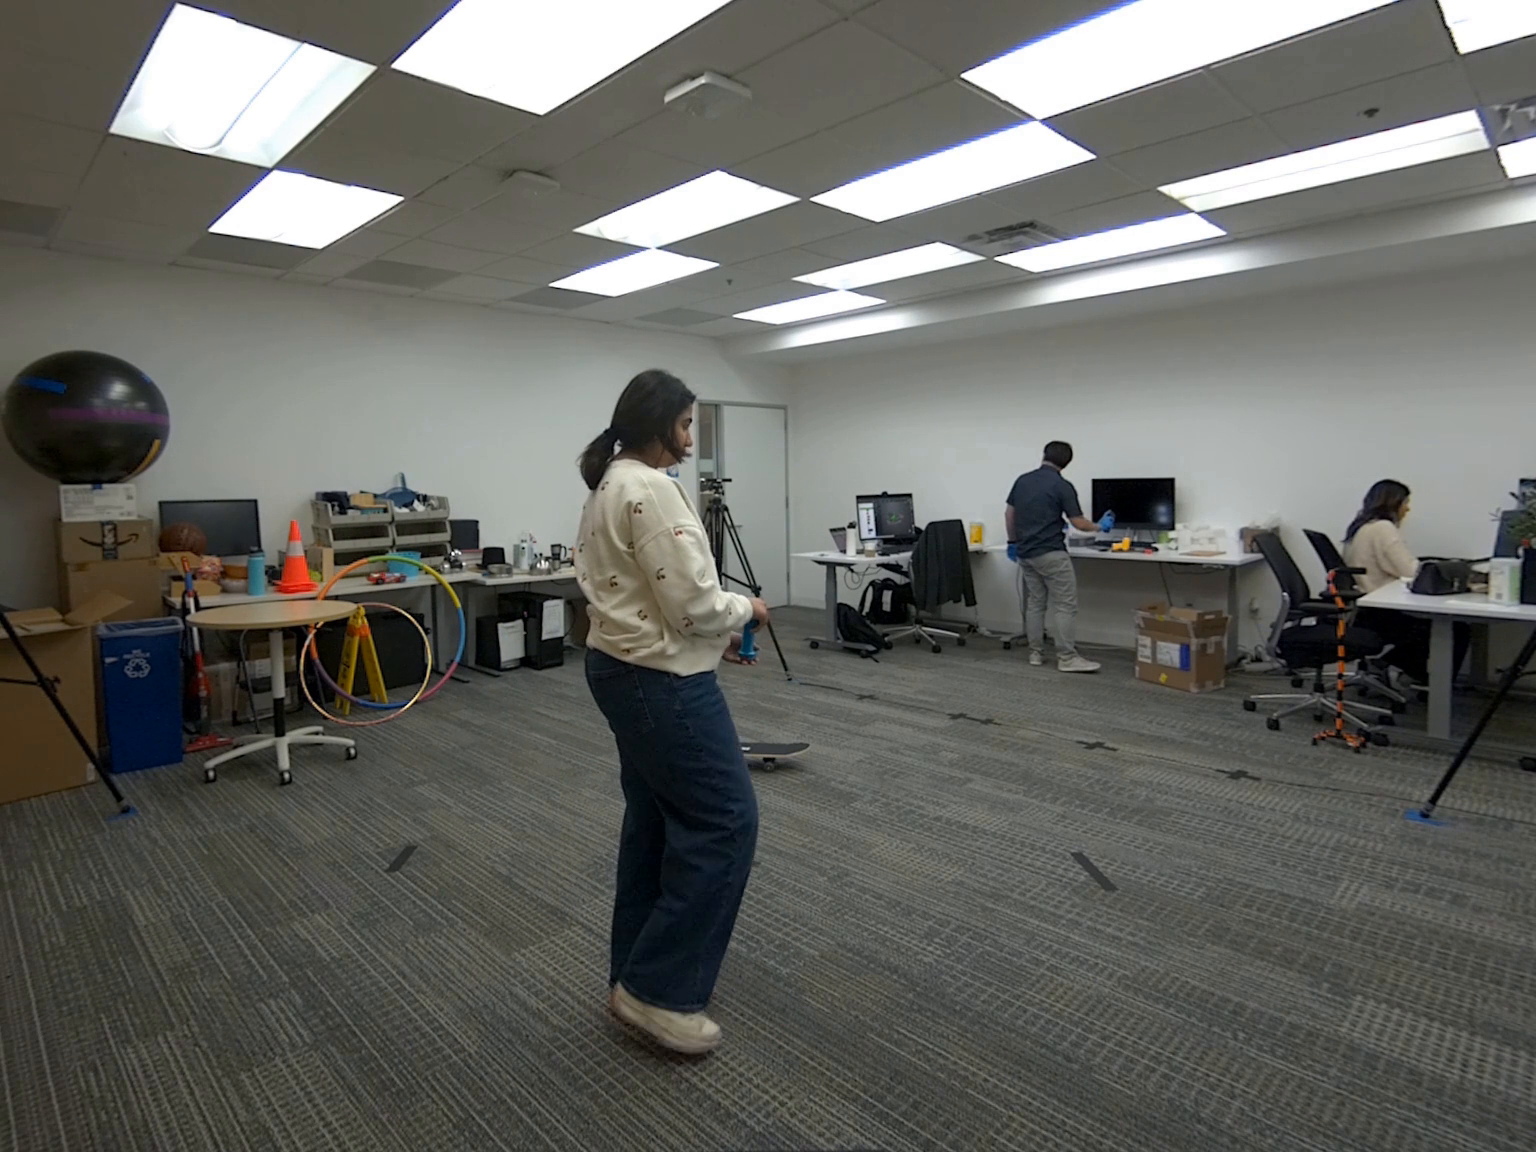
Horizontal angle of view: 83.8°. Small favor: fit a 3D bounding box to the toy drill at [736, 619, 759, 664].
[{"bbox_3d":[-0.044,0.139,2.351,0.061,0.144,0.171,4,15,5],"label":"toy drill"}]
